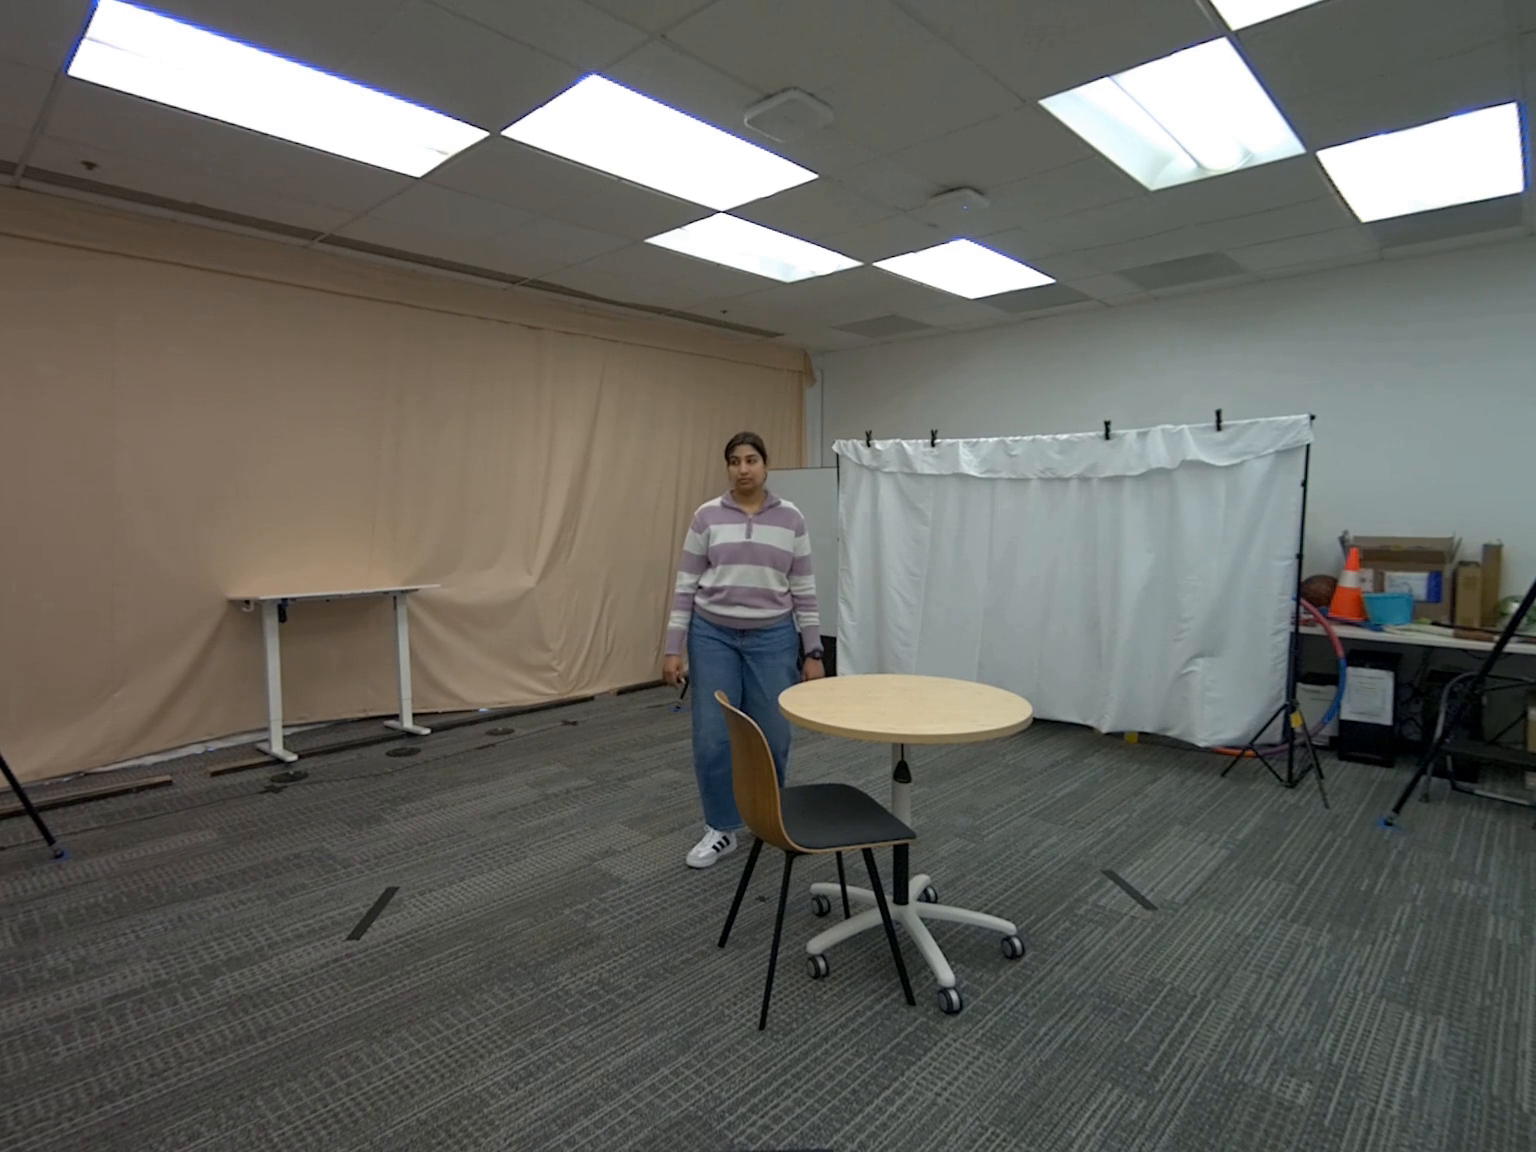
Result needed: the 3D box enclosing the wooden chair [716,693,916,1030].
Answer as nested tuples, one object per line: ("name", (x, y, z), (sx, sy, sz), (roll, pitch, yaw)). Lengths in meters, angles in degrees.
("wooden chair", (0.138, 0.757, 2.482), (0.515, 0.875, 0.487), (-5, 4, -17))
